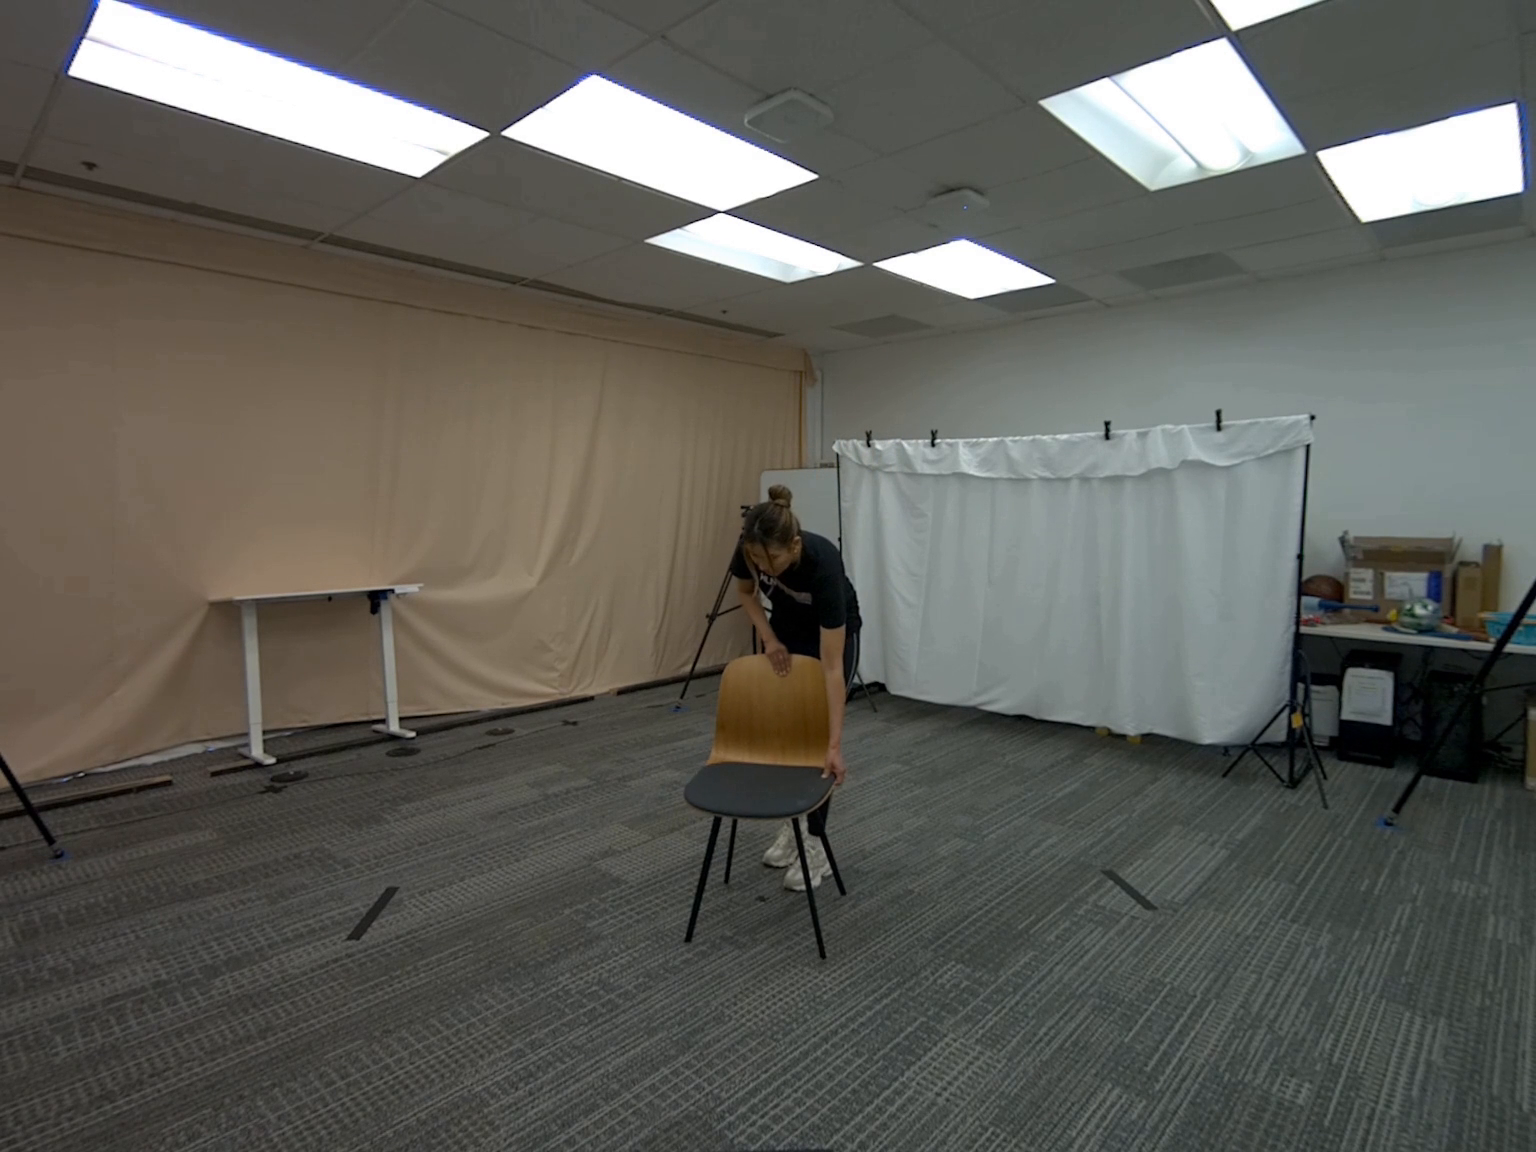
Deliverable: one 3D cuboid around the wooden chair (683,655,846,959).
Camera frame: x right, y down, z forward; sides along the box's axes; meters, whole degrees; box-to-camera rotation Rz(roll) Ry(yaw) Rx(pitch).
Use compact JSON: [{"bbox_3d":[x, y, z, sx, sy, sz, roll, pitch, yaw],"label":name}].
[{"bbox_3d":[-0.007,0.722,2.801,0.486,0.878,0.514,0,-1,15],"label":"wooden chair"}]
